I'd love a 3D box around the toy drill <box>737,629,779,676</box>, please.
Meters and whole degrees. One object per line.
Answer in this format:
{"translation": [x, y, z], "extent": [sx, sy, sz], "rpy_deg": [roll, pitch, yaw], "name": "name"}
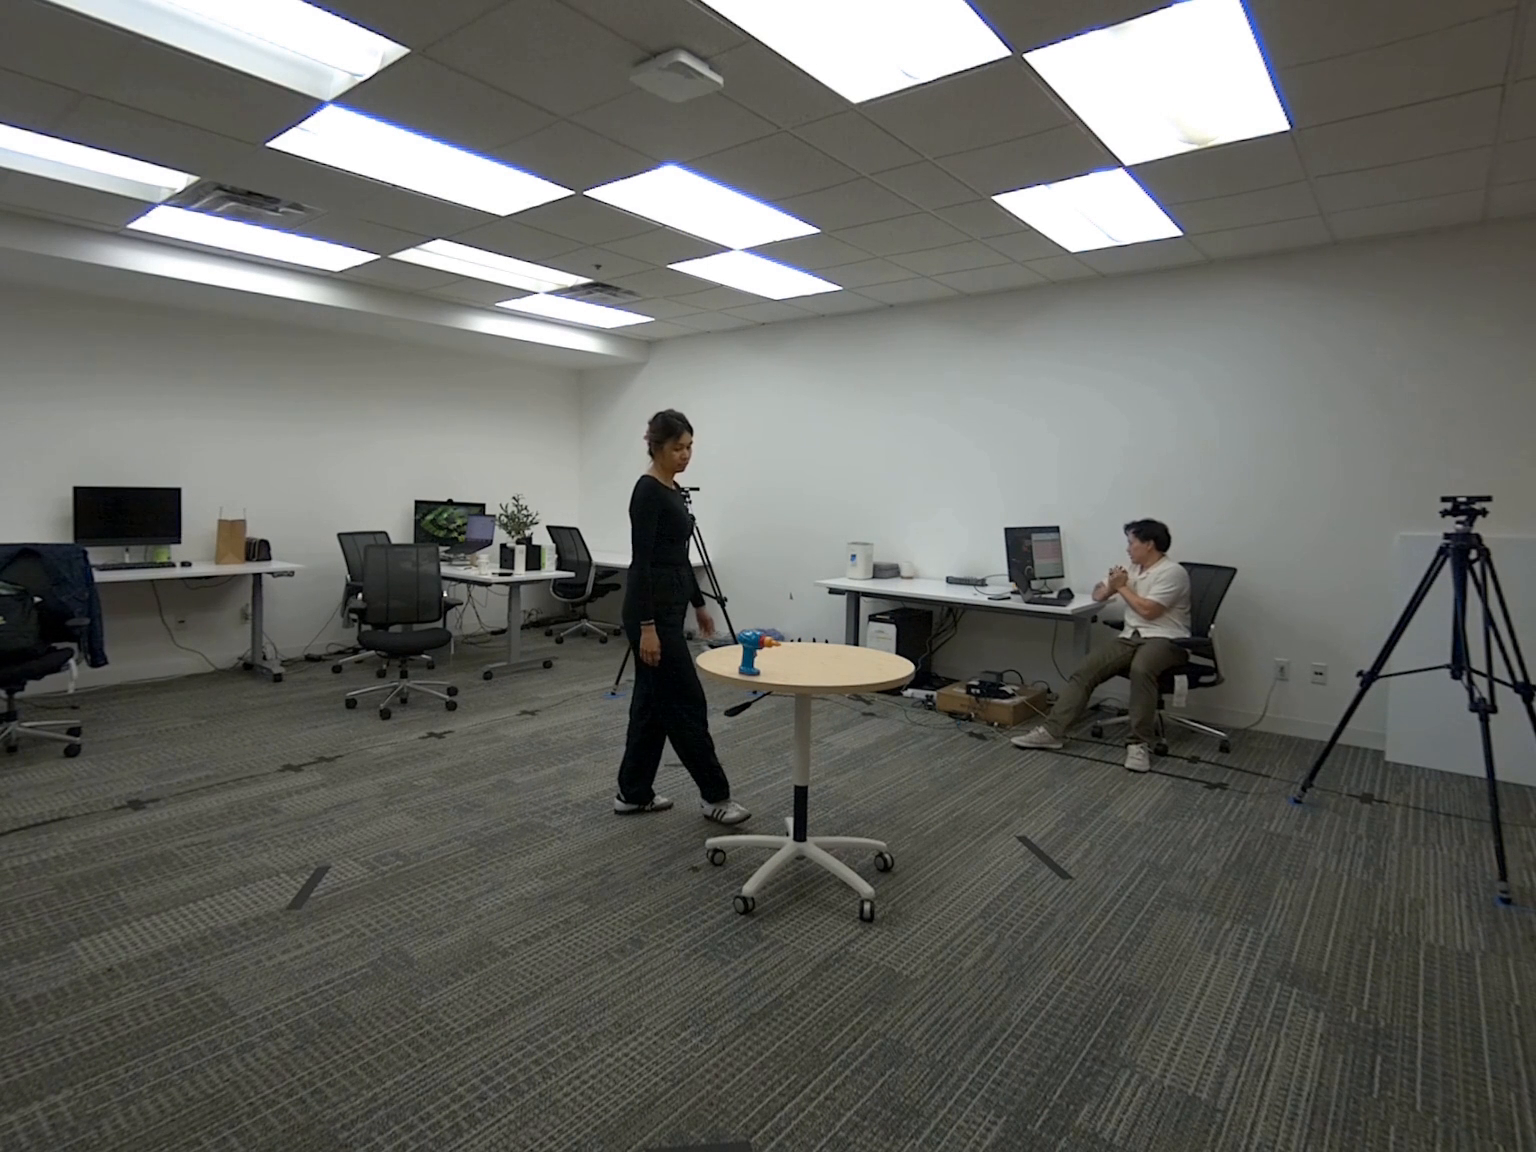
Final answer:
{"translation": [-0.040, 0.247, 2.760], "extent": [0.175, 0.146, 0.059], "rpy_deg": [2, 2, 33], "name": "toy drill"}
